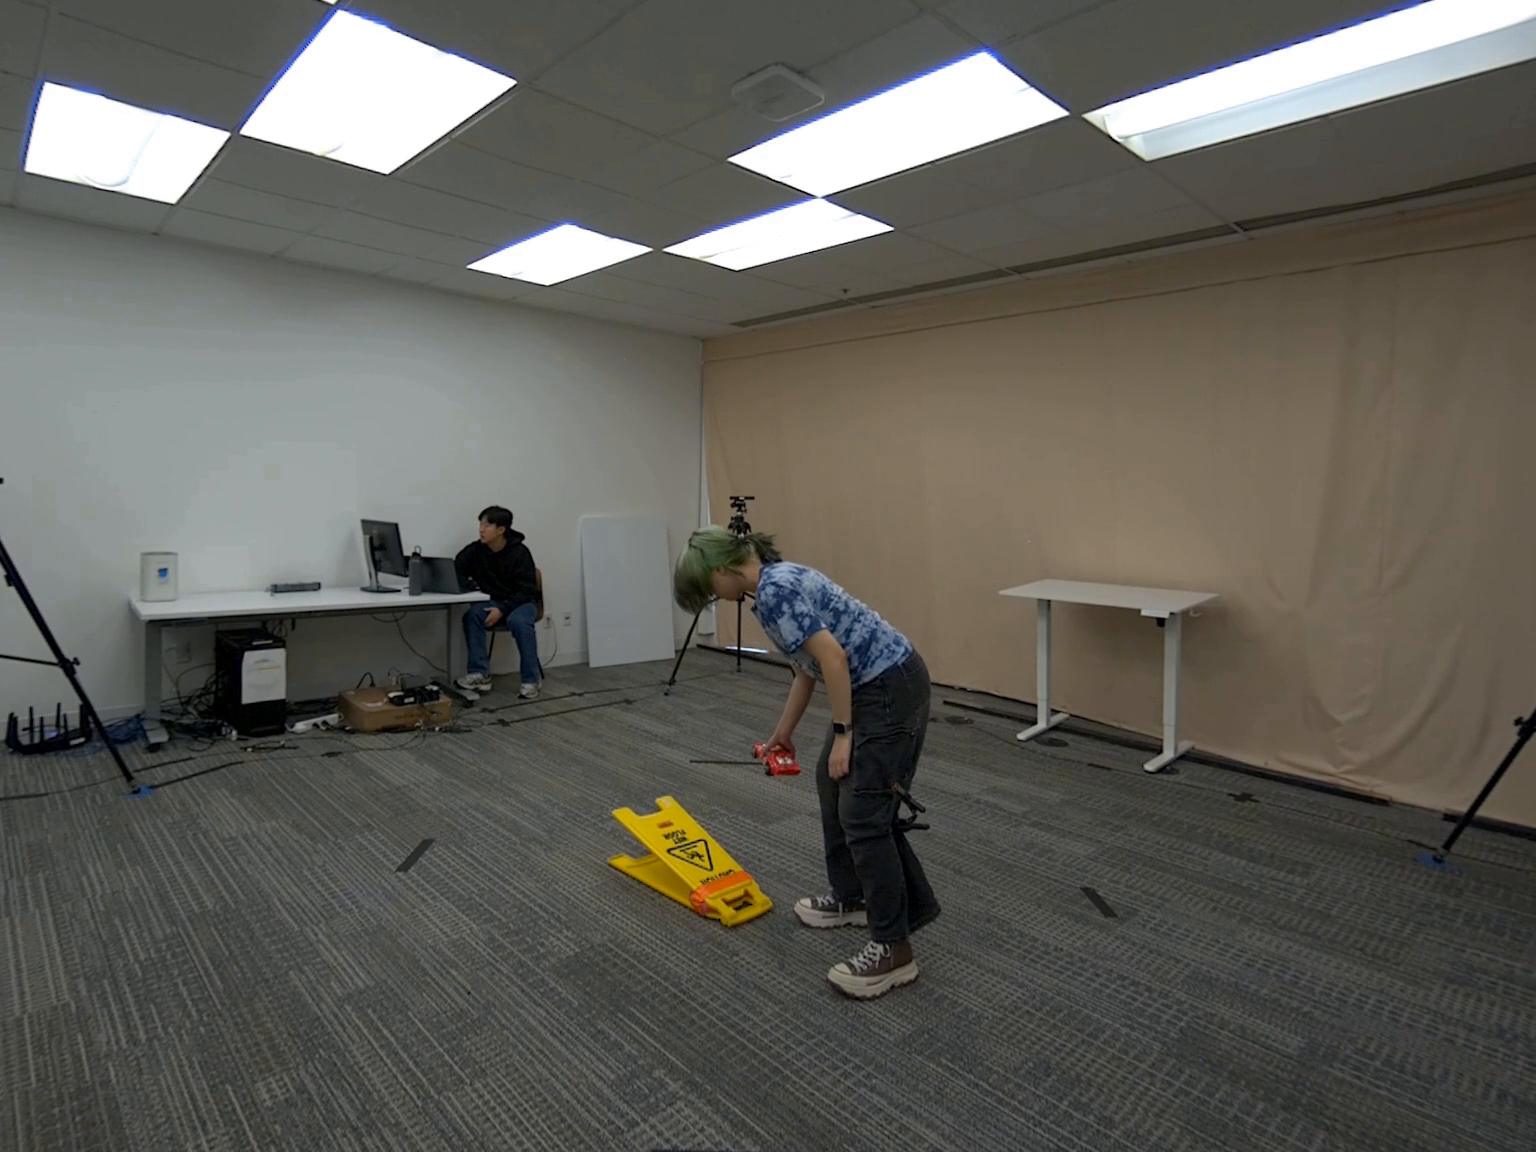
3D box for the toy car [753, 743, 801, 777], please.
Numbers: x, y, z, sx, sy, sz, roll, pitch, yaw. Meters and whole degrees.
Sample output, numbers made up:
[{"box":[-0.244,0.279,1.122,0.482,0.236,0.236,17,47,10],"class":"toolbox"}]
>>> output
[{"box":[0.018,0.663,2.999,0.128,0.083,0.259,5,0,-21],"class":"toy car"}]
